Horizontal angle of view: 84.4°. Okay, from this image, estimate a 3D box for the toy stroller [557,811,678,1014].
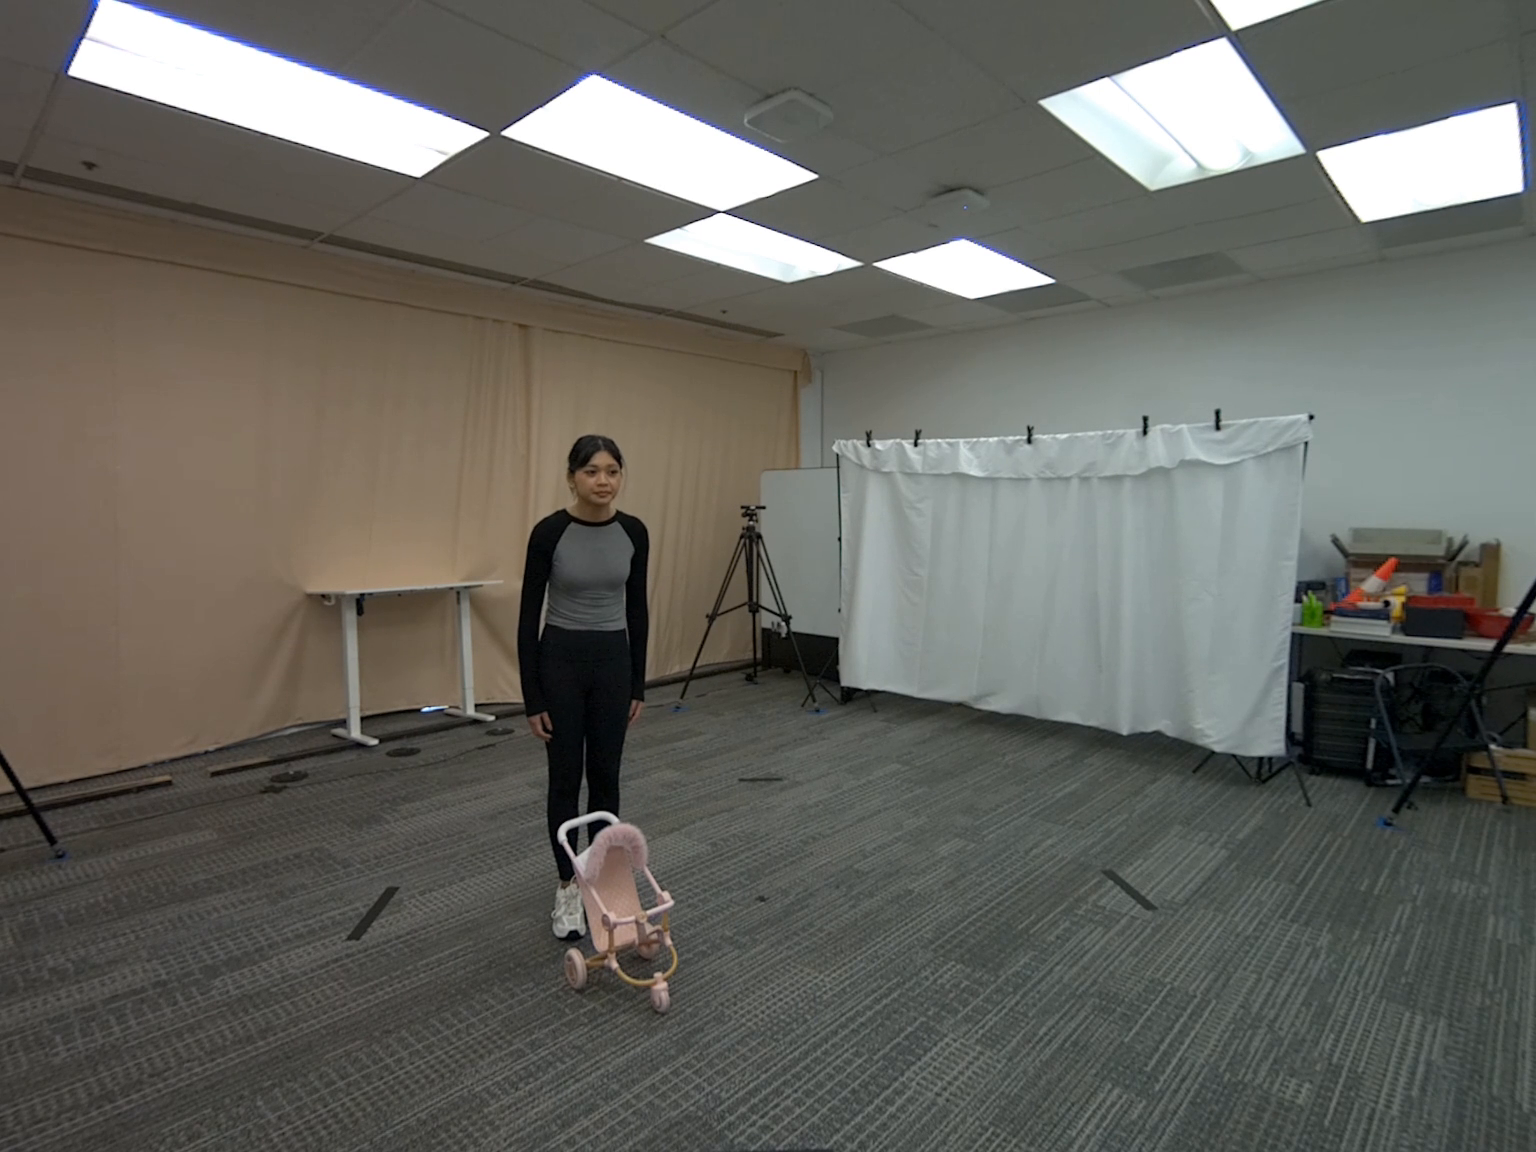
[{"bbox_3d":[-0.427,0.970,2.452,0.273,0.540,0.348,-3,-13,-36],"label":"toy stroller"}]
